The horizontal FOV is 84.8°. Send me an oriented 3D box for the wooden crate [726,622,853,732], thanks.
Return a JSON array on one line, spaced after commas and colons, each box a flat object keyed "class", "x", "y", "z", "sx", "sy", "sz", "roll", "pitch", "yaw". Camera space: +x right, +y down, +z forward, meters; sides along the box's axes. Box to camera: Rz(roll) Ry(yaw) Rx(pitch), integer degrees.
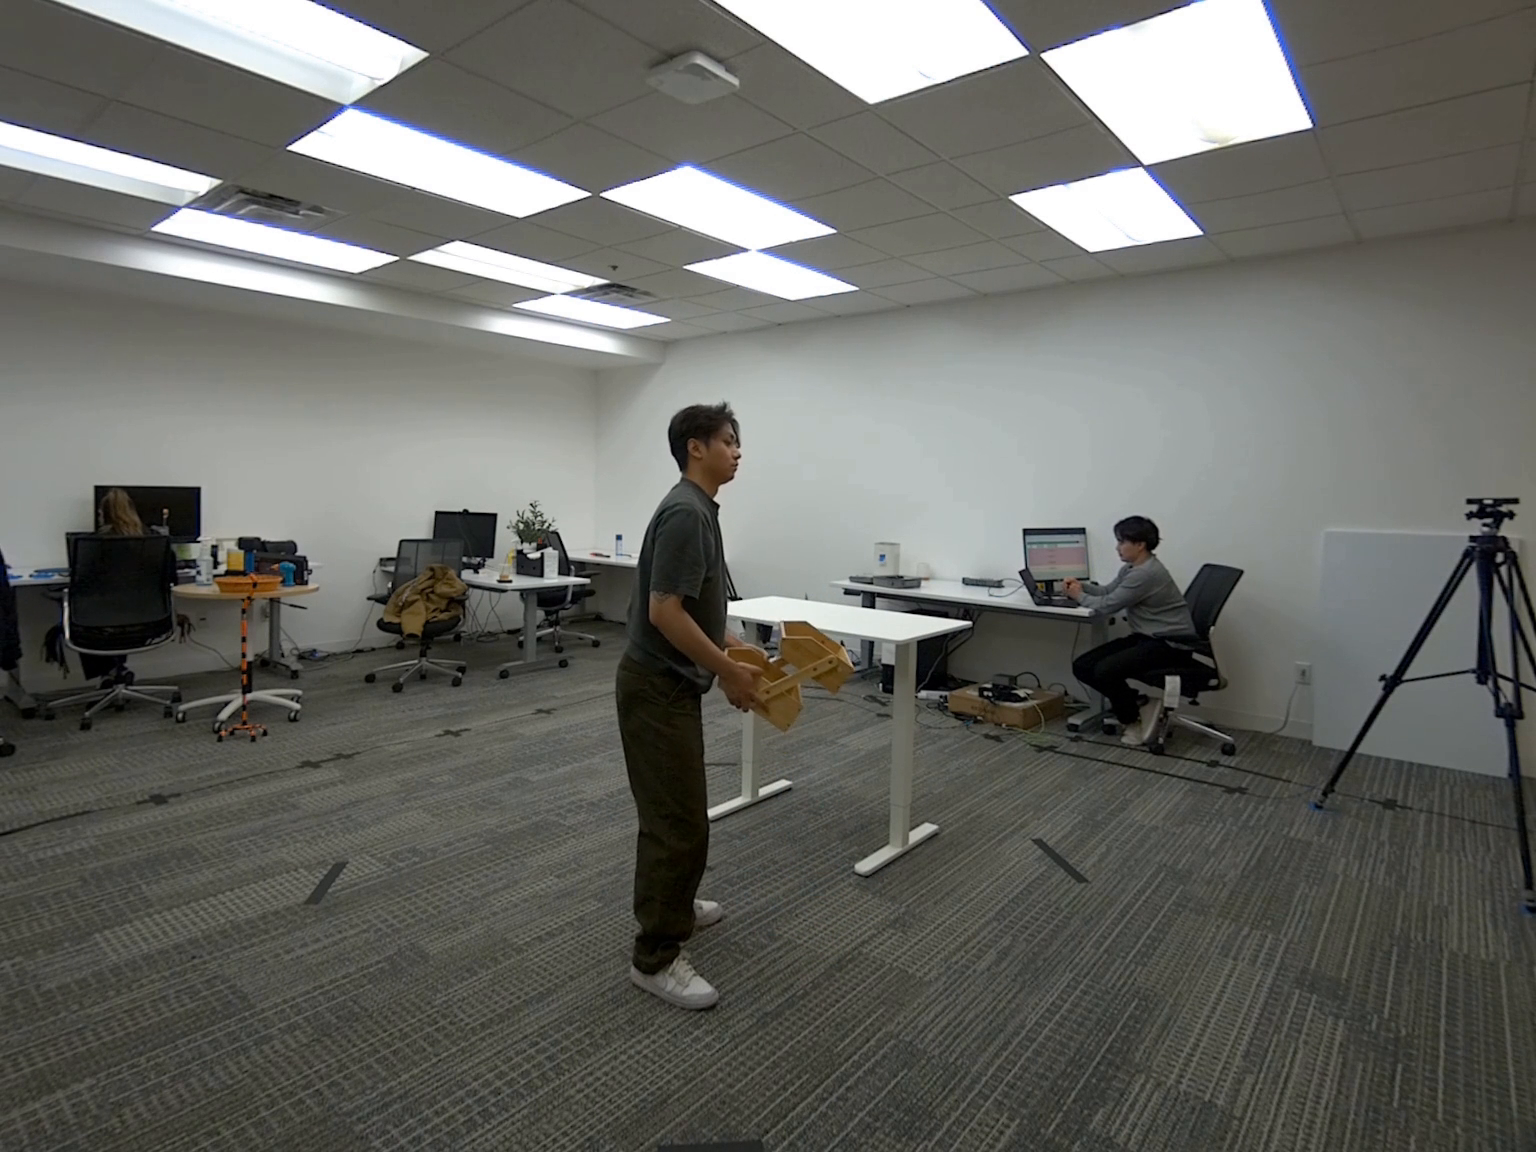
[{"class": "wooden crate", "x": 0.037, "y": 0.256, "z": 2.490, "sx": 0.302, "sy": 0.273, "sz": 0.325, "roll": 35, "pitch": 5, "yaw": -2}]
